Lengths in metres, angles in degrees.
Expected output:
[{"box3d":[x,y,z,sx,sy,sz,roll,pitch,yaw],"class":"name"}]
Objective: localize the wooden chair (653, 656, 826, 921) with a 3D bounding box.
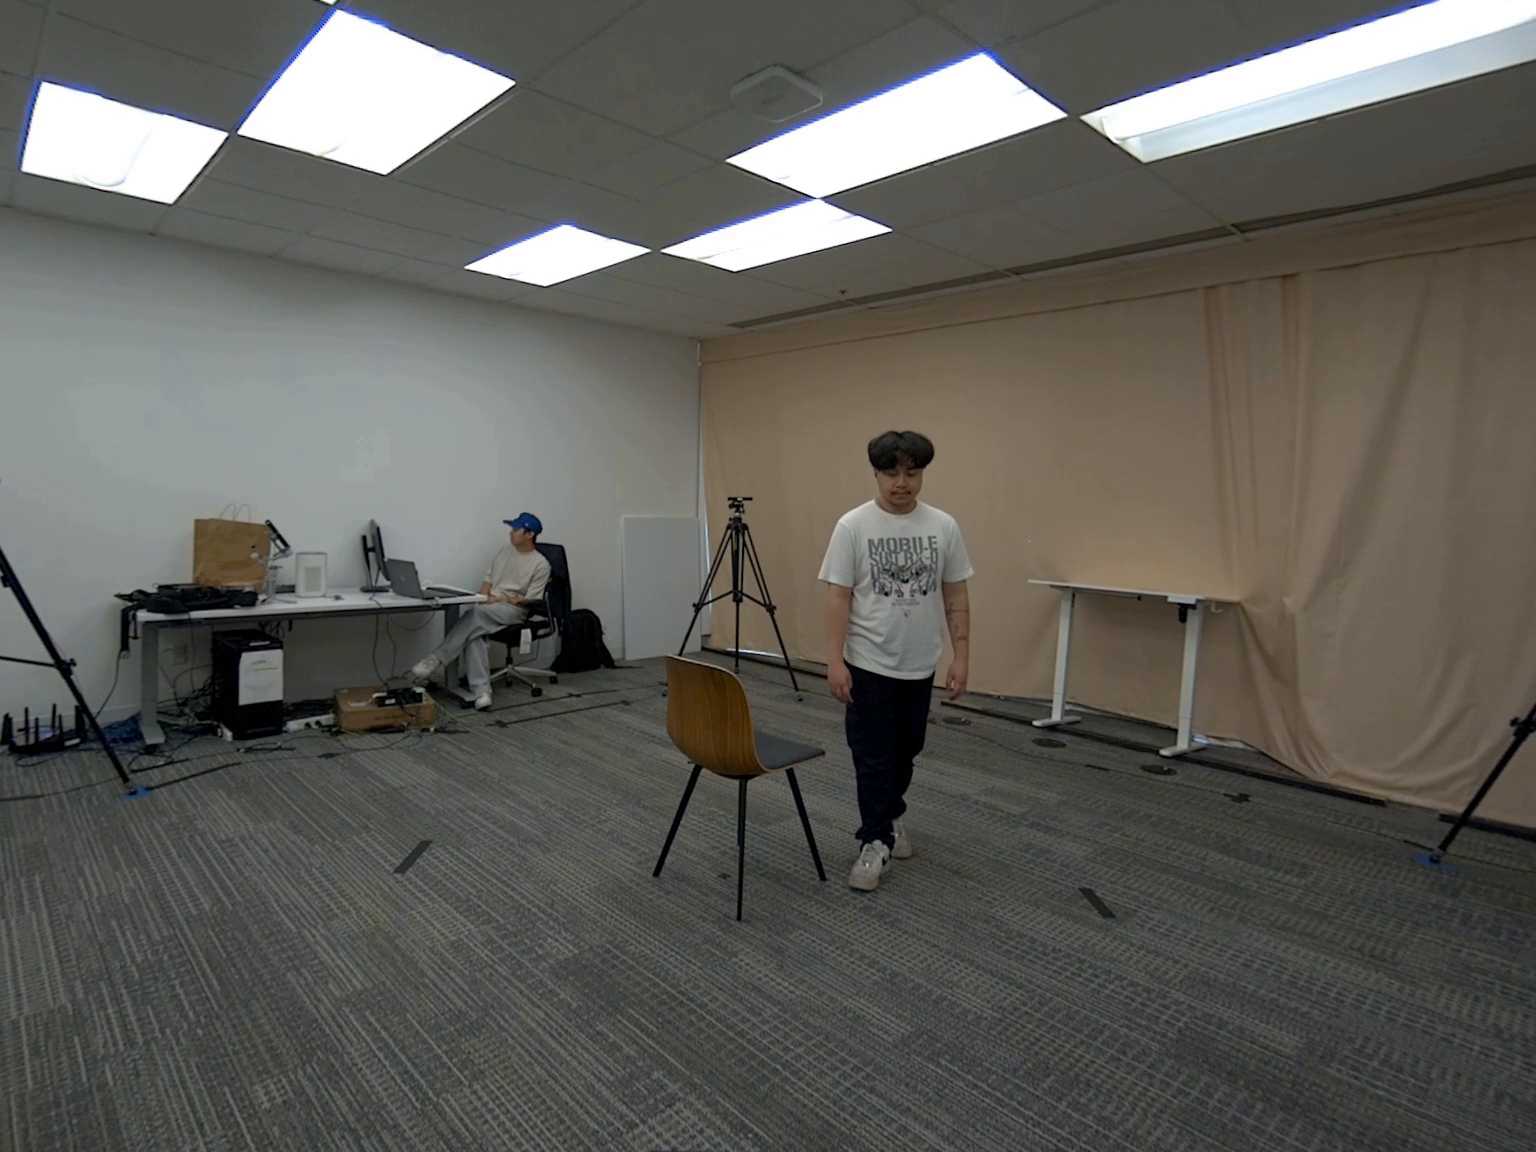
[{"box3d":[-0.094,0.686,3.060,0.490,0.873,0.512,4,8,44],"class":"wooden chair"}]
